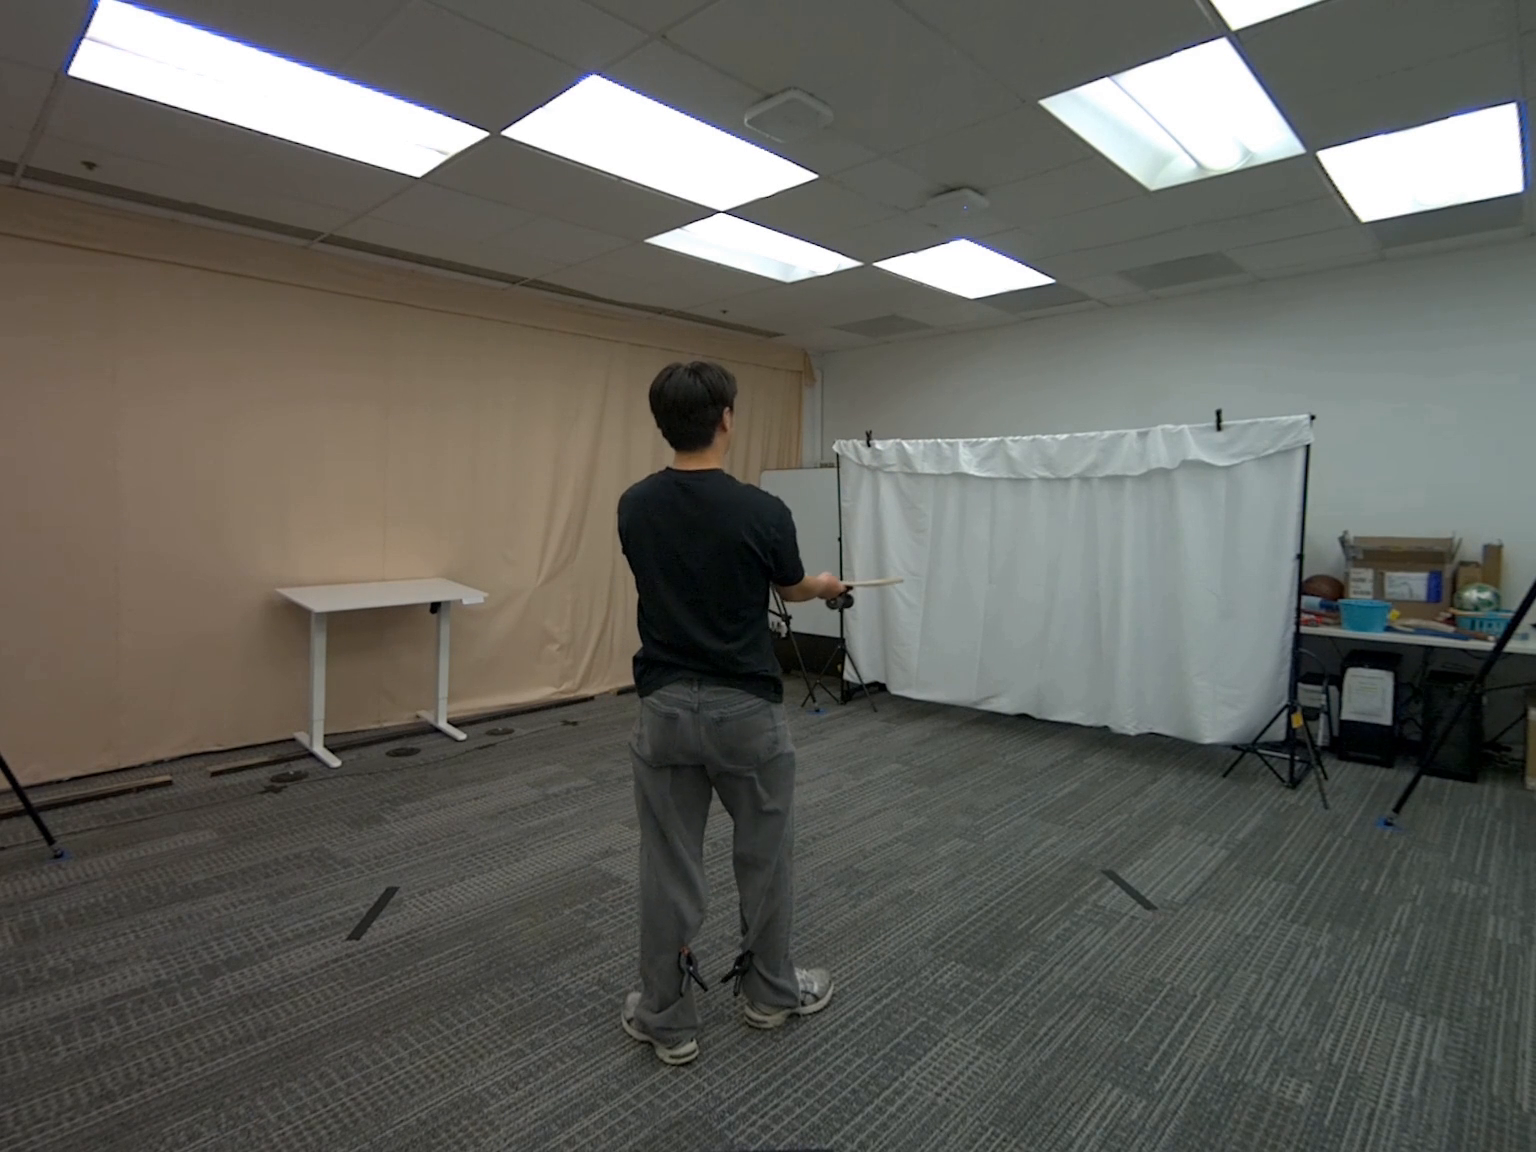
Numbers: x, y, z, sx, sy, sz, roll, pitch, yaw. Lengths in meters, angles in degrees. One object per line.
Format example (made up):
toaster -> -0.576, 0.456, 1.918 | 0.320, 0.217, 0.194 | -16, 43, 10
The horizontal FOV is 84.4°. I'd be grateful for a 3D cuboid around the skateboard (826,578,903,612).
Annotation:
skateboard -> 0.068, 0.040, 2.749 | 0.803, 0.110, 0.189 | 3, -1, 22
